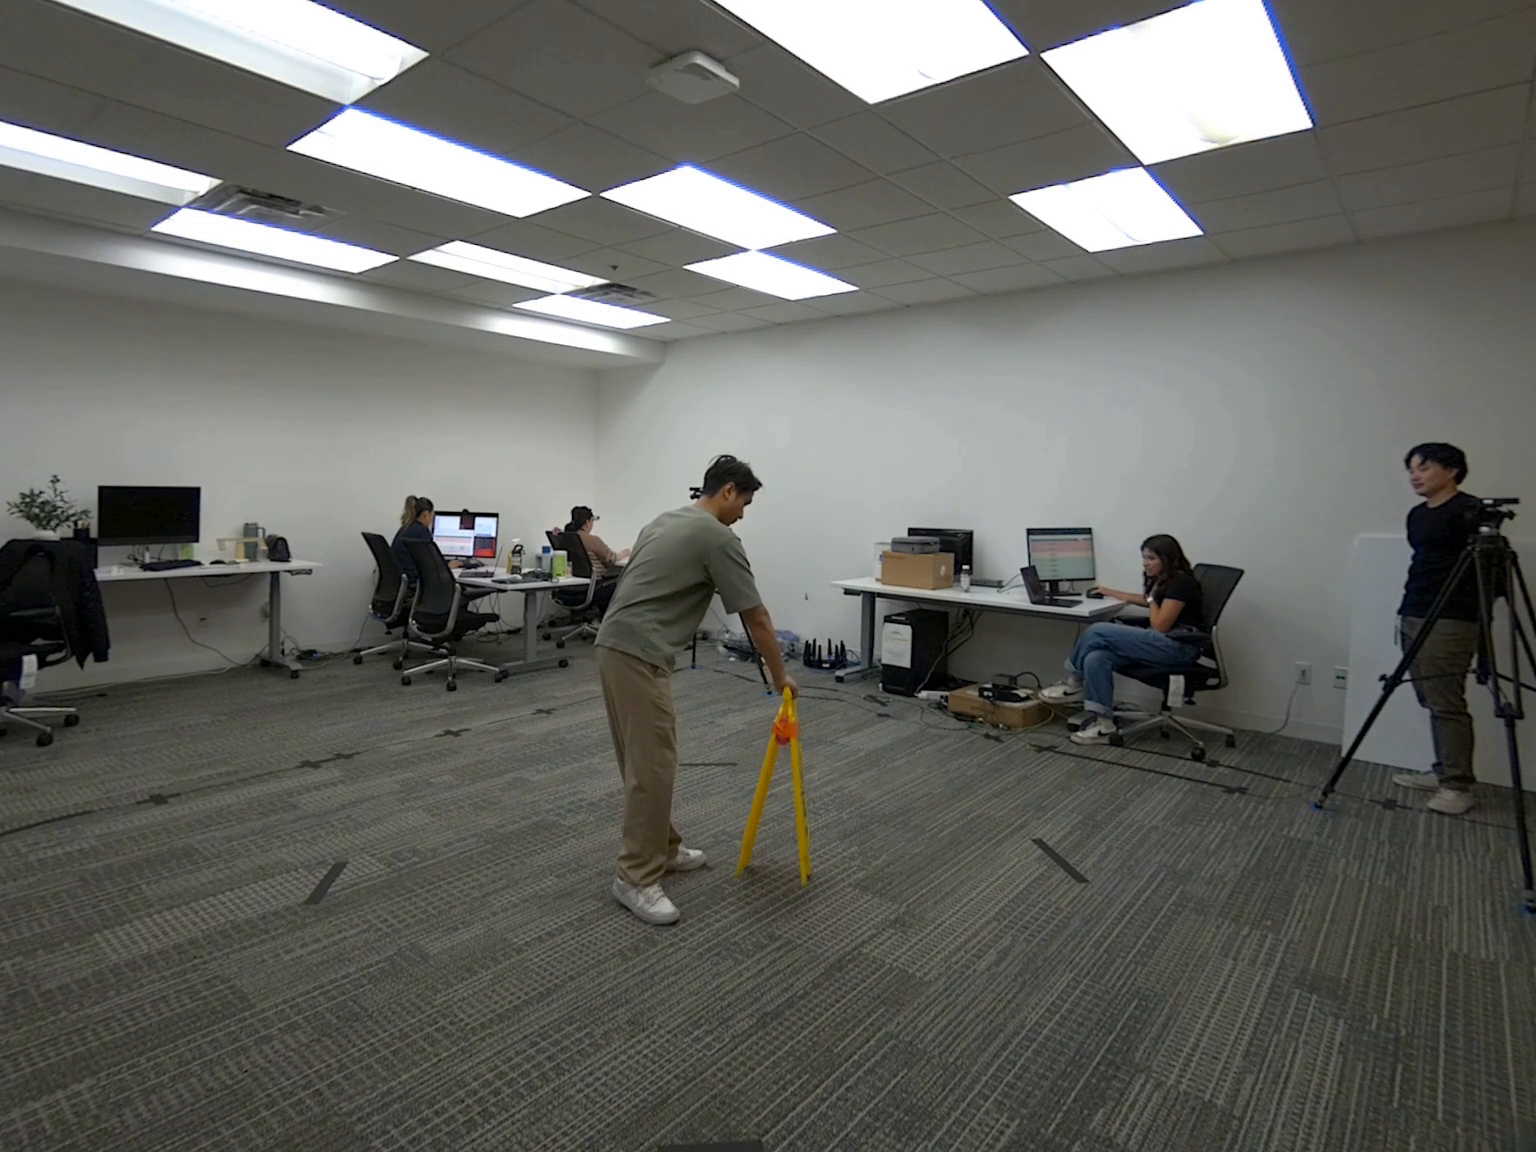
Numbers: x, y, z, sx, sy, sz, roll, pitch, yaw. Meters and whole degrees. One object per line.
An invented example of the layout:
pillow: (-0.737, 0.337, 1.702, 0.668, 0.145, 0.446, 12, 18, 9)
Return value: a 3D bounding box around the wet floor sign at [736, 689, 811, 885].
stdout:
wet floor sign: (0.047, 0.735, 3.056, 0.293, 0.650, 0.277, 5, -7, 8)
